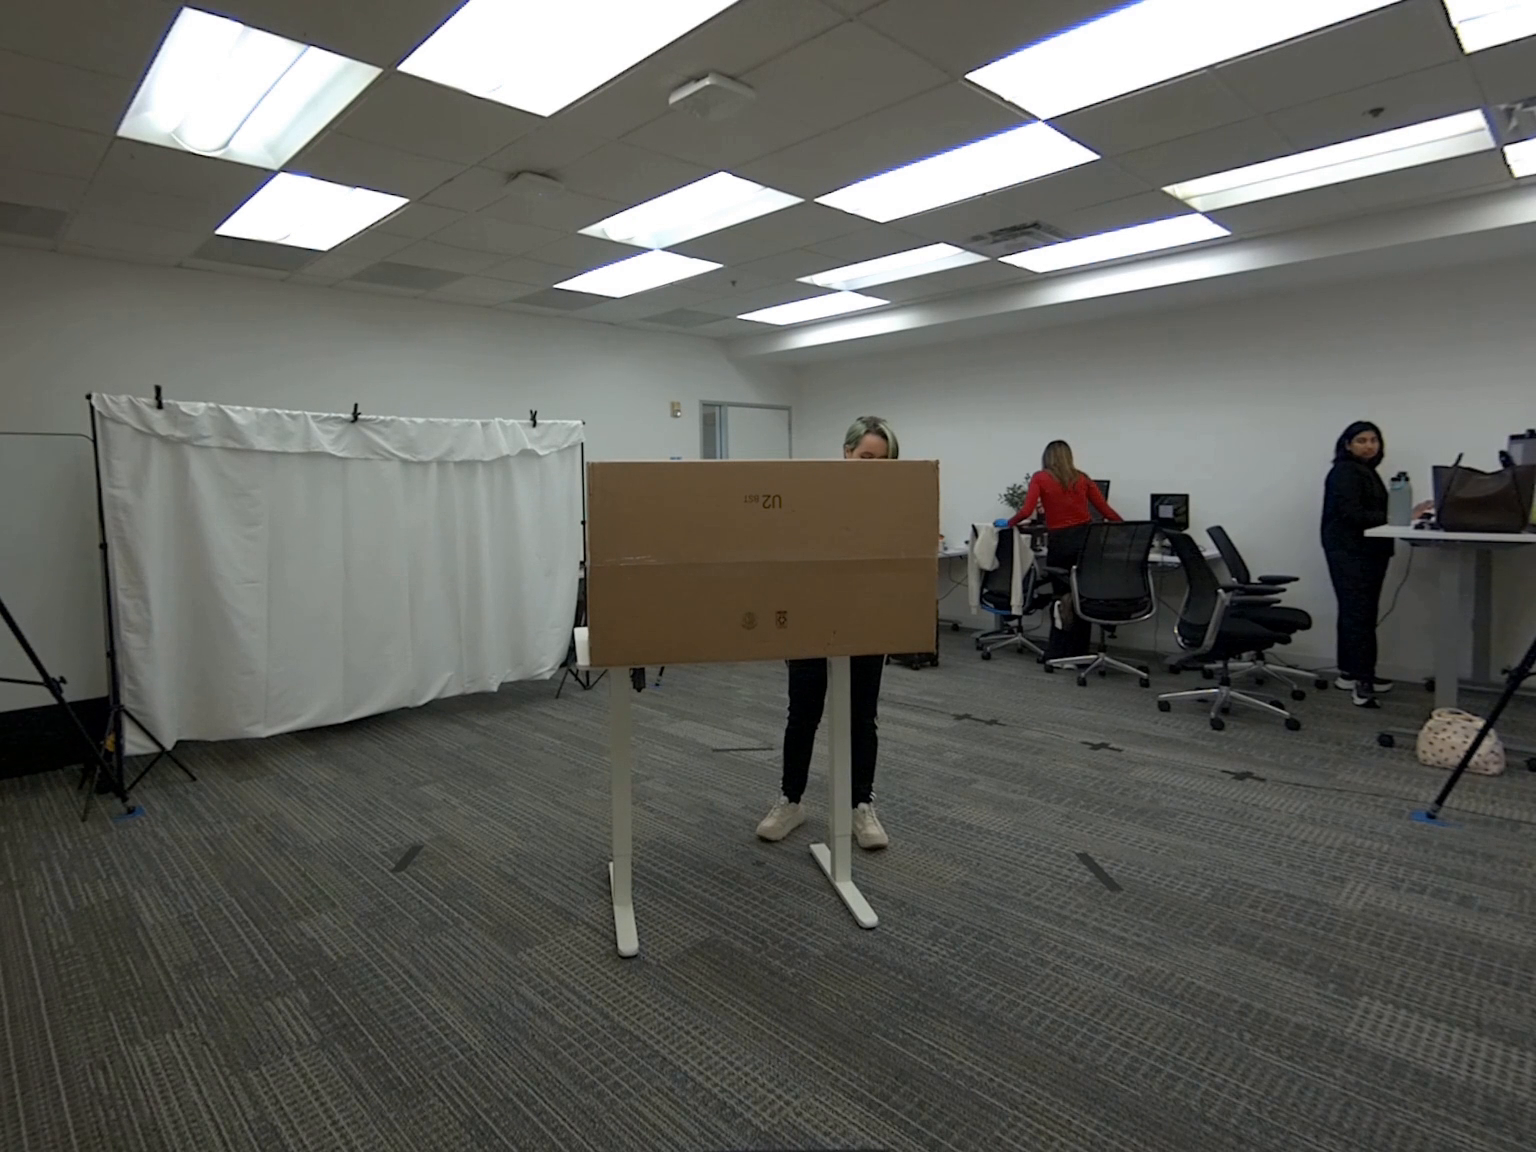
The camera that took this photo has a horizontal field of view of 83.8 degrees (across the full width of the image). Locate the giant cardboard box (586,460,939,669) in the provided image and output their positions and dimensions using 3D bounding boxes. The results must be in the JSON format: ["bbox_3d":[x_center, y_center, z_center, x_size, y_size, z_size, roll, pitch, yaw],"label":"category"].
[{"bbox_3d":[-0.044,-0.071,2.640,1.017,0.582,0.453,-1,5,-10],"label":"giant cardboard box"}]
